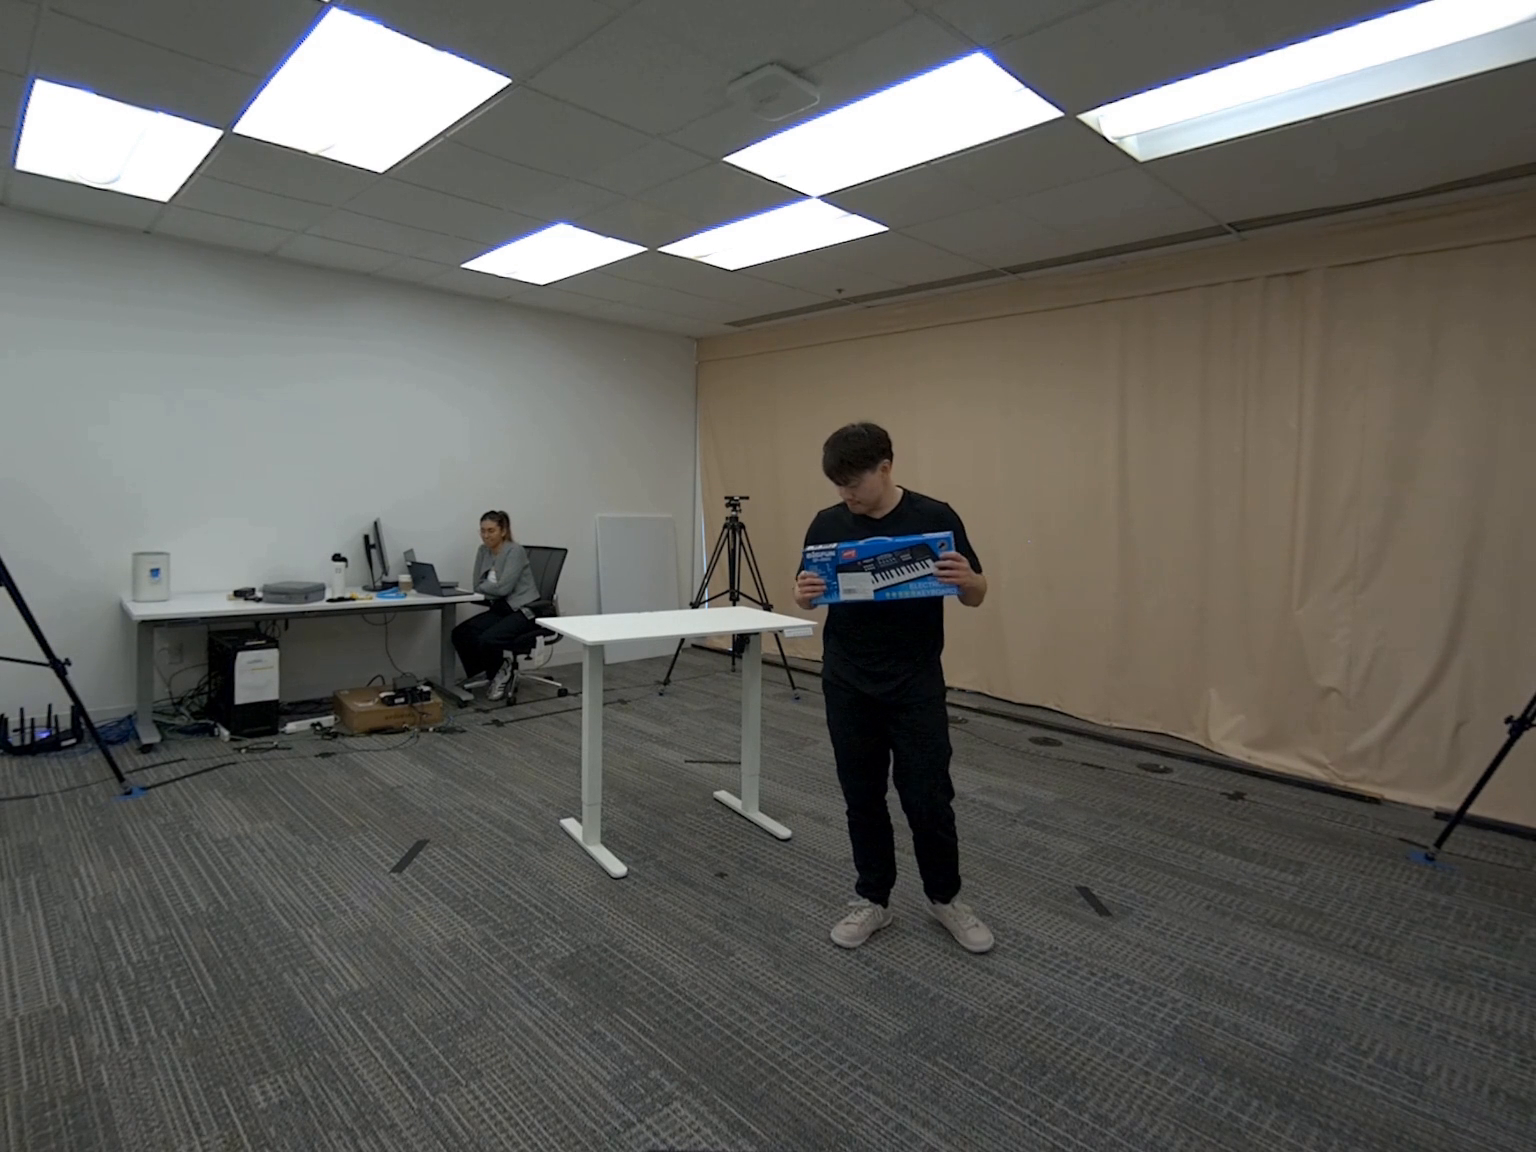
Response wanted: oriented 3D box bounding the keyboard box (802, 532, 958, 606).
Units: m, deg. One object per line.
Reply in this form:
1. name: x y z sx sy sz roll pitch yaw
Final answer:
1. keyboard box: 0.325 -0.015 2.457 0.443 0.174 0.059 -5 13 22
